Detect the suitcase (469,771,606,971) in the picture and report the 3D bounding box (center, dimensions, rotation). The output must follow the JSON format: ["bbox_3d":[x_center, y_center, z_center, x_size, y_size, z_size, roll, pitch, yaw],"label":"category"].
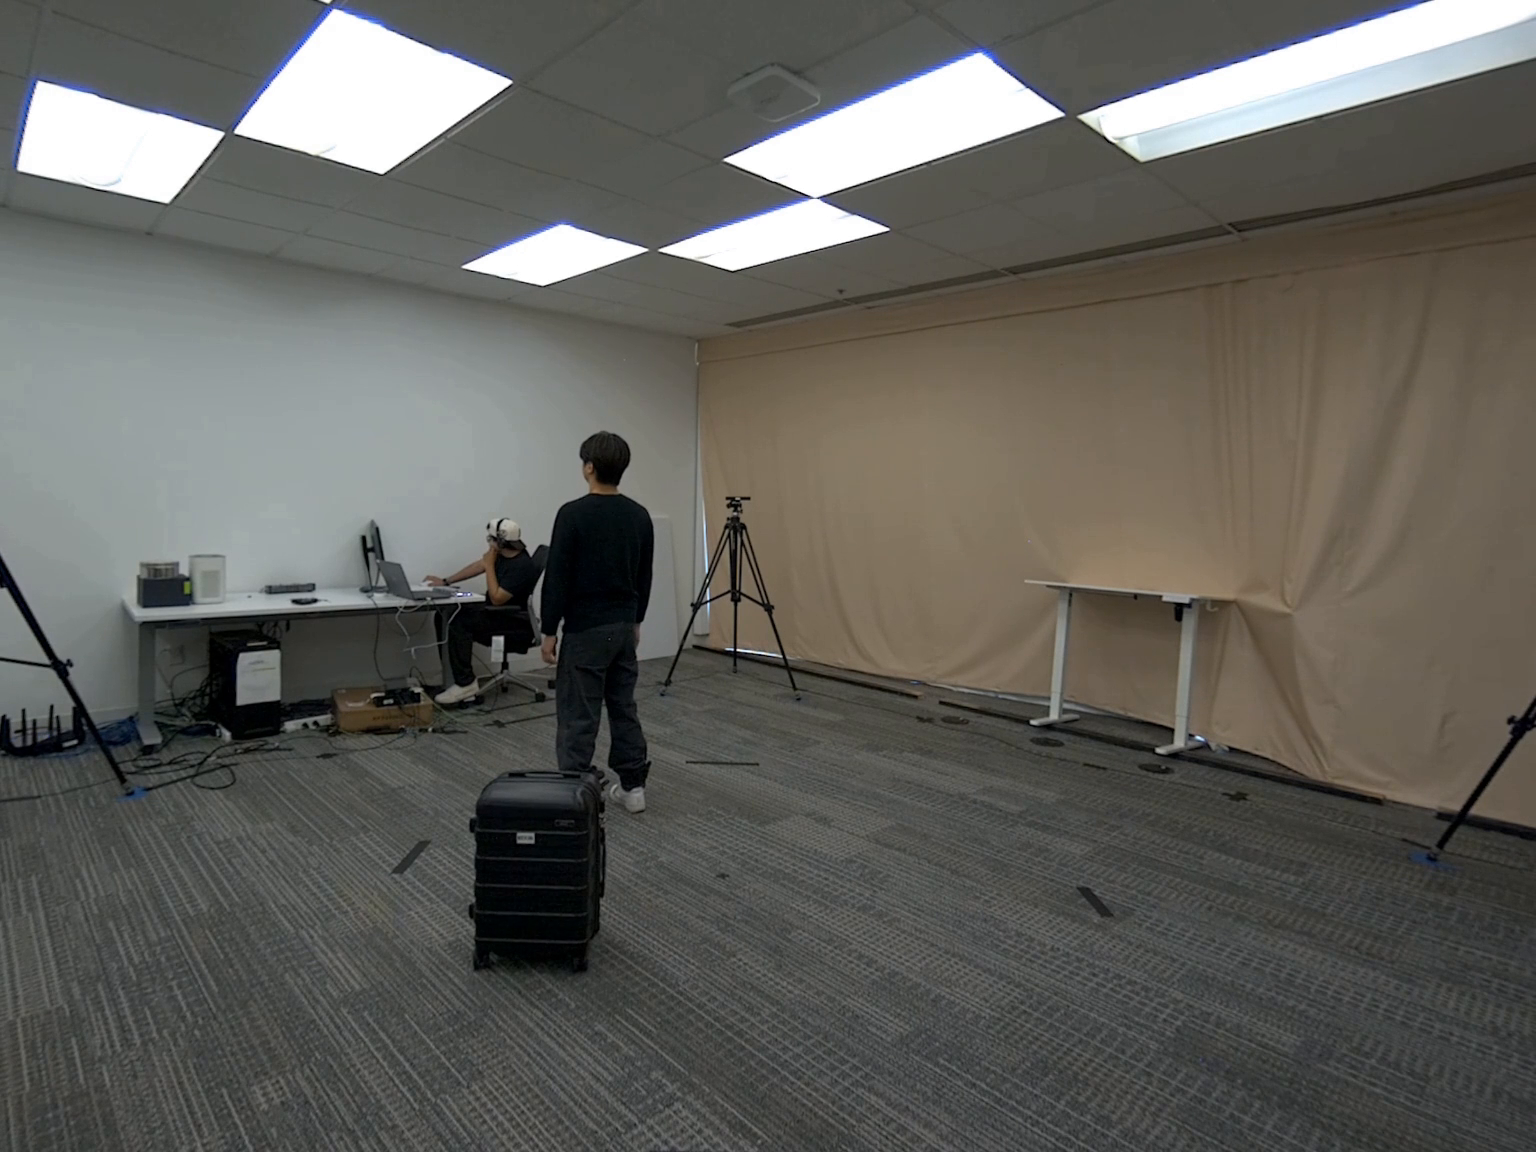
[{"bbox_3d":[-0.694,0.874,2.527,0.376,0.548,0.249,2,3,0],"label":"suitcase"}]
